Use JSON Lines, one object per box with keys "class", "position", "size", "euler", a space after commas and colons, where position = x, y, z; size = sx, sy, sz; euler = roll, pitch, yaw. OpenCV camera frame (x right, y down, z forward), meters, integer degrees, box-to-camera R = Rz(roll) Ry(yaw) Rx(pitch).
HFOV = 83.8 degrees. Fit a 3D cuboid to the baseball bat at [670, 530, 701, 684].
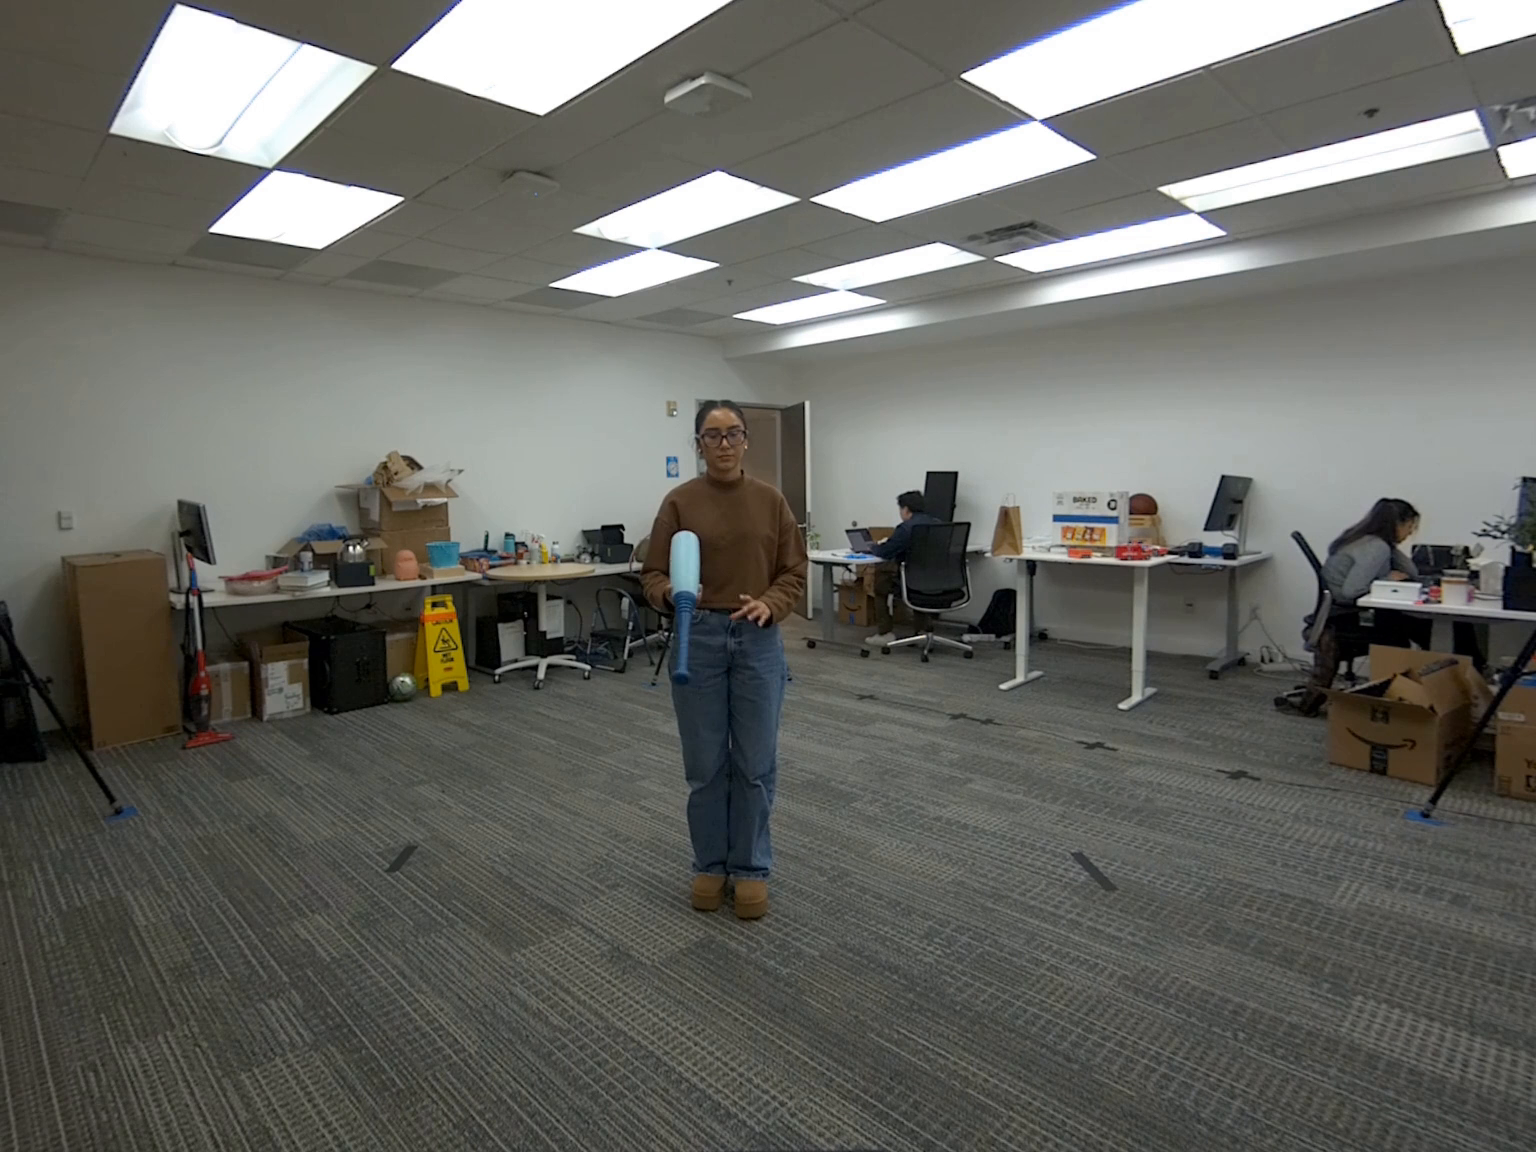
{"class": "baseball bat", "position": [-0.238, 0.092, 2.421], "size": [0.089, 0.087, 0.559], "euler": [-2, 45, -4]}
